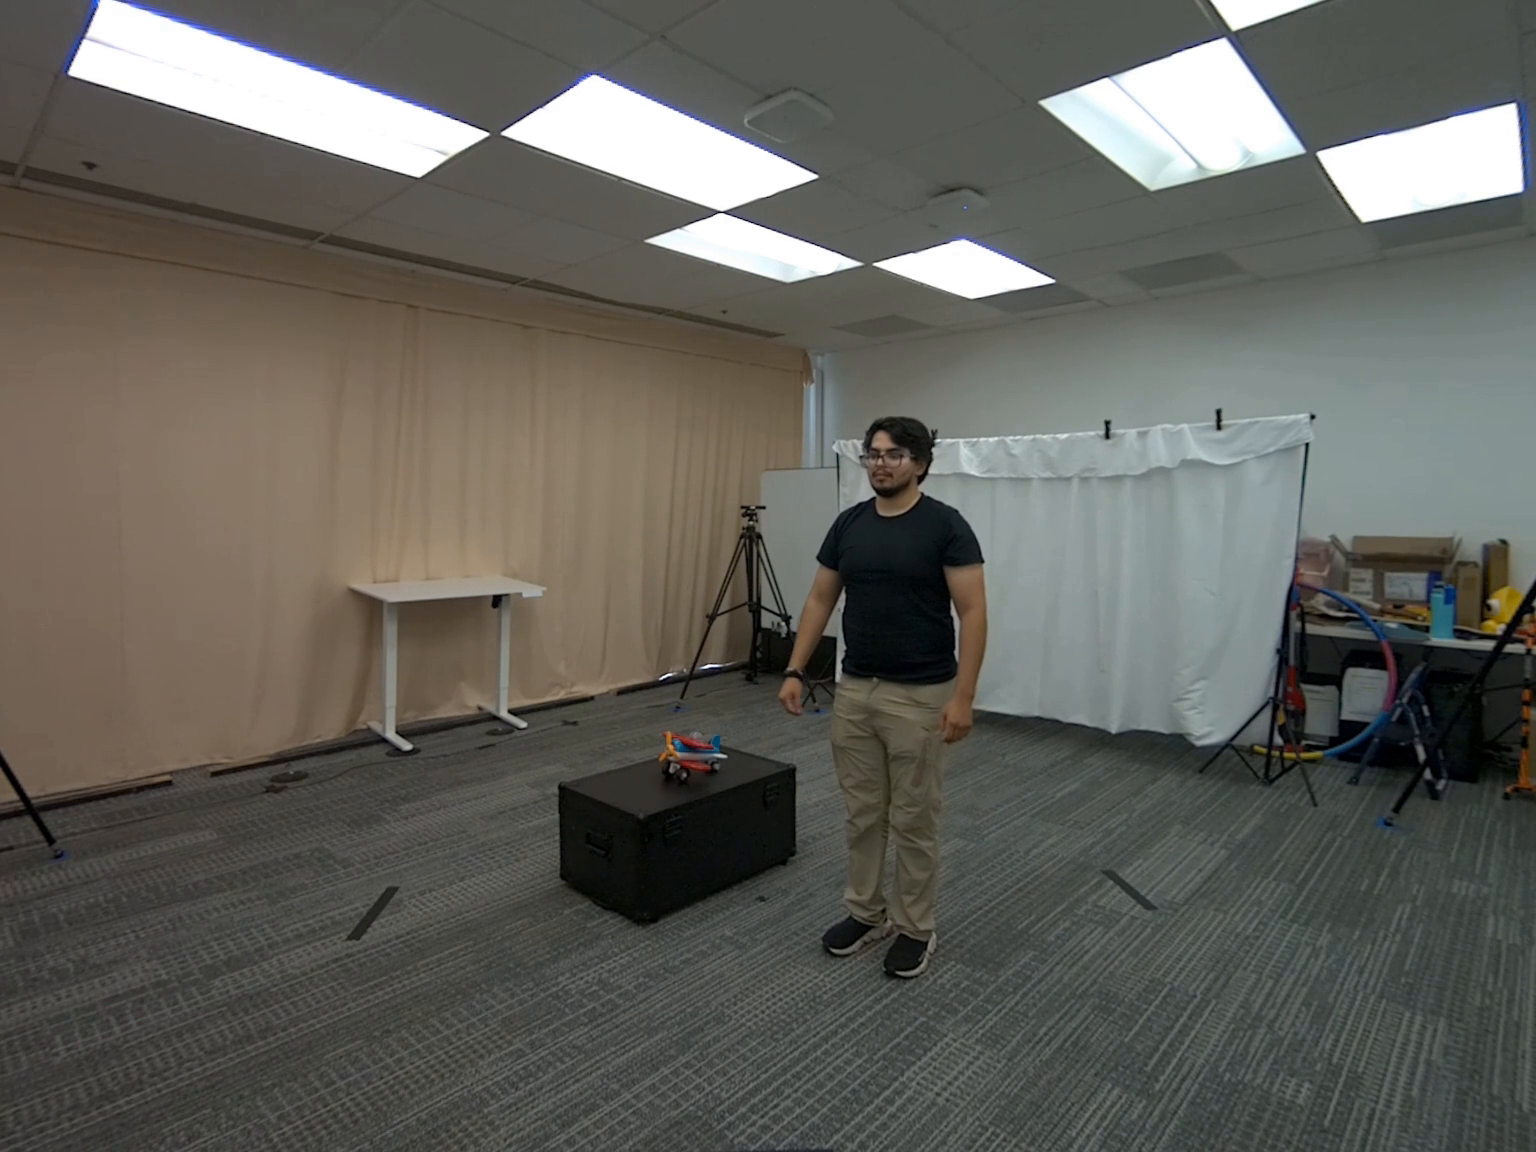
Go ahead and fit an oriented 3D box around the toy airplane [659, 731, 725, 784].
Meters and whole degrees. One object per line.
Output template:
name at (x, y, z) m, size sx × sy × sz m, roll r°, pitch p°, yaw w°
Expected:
toy airplane at (-0.292, 0.675, 3.201) m, size 0.256 × 0.156 × 0.255 m, roll 1°, pitch 6°, yaw 19°
